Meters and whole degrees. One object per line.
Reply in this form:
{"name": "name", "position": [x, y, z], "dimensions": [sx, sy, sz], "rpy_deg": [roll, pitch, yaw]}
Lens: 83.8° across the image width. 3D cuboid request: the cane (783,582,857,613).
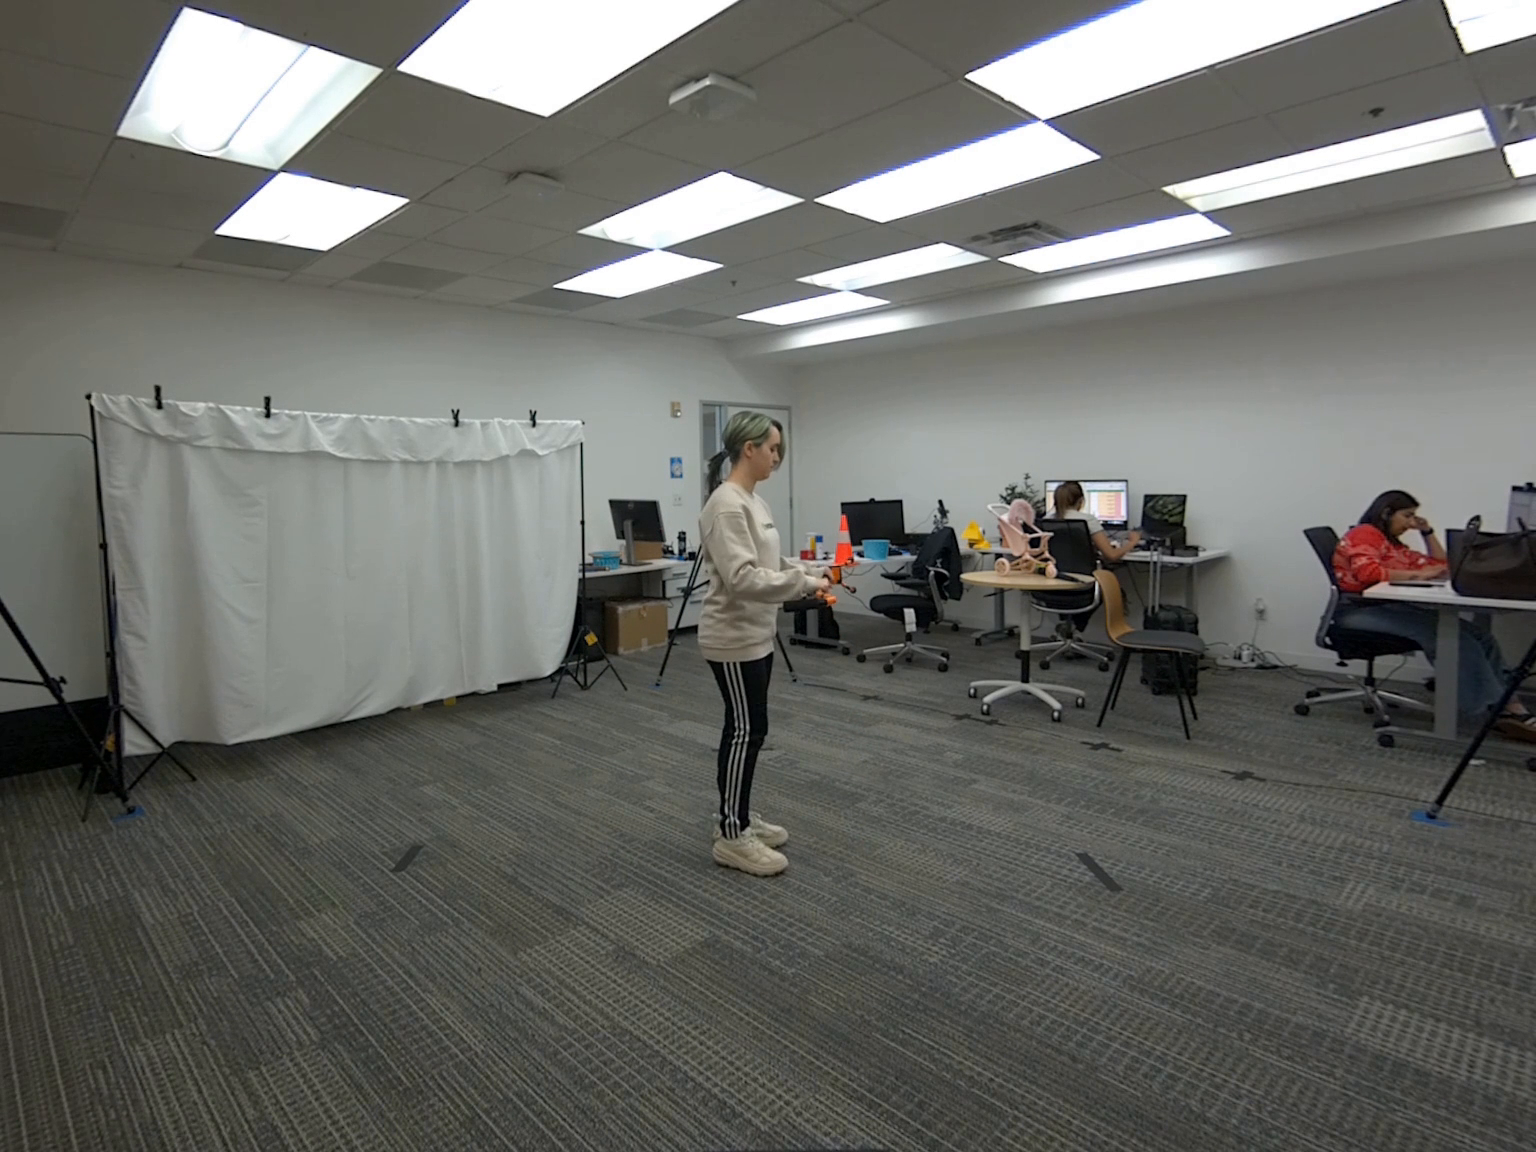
{"name": "cane", "position": [0.194, 0.046, 3.054], "dimensions": [0.208, 0.151, 0.902], "rpy_deg": [-5, 4, 8]}
